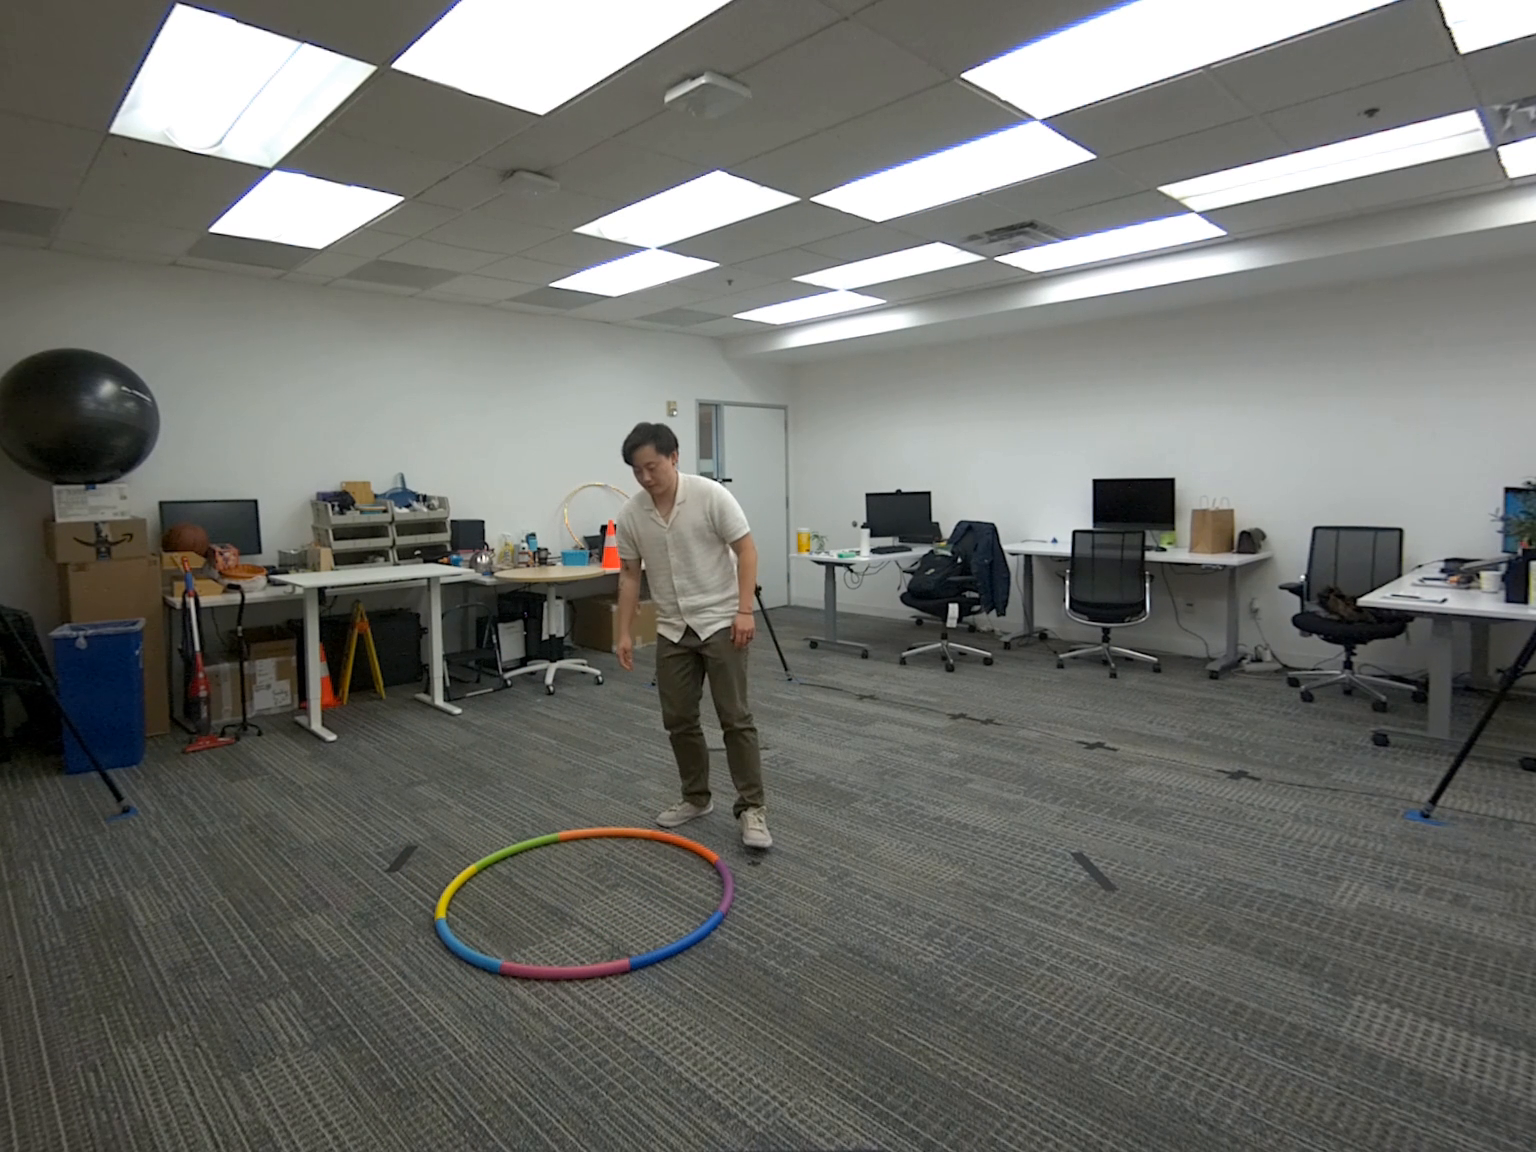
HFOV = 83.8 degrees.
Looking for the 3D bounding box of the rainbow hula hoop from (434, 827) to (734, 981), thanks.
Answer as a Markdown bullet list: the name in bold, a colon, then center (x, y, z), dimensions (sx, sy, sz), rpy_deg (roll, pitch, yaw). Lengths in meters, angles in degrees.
- **rainbow hula hoop**: center (-0.598, 1.050, 2.889), dimensions (0.978, 0.035, 0.984), rpy_deg (-1, 7, -2)
